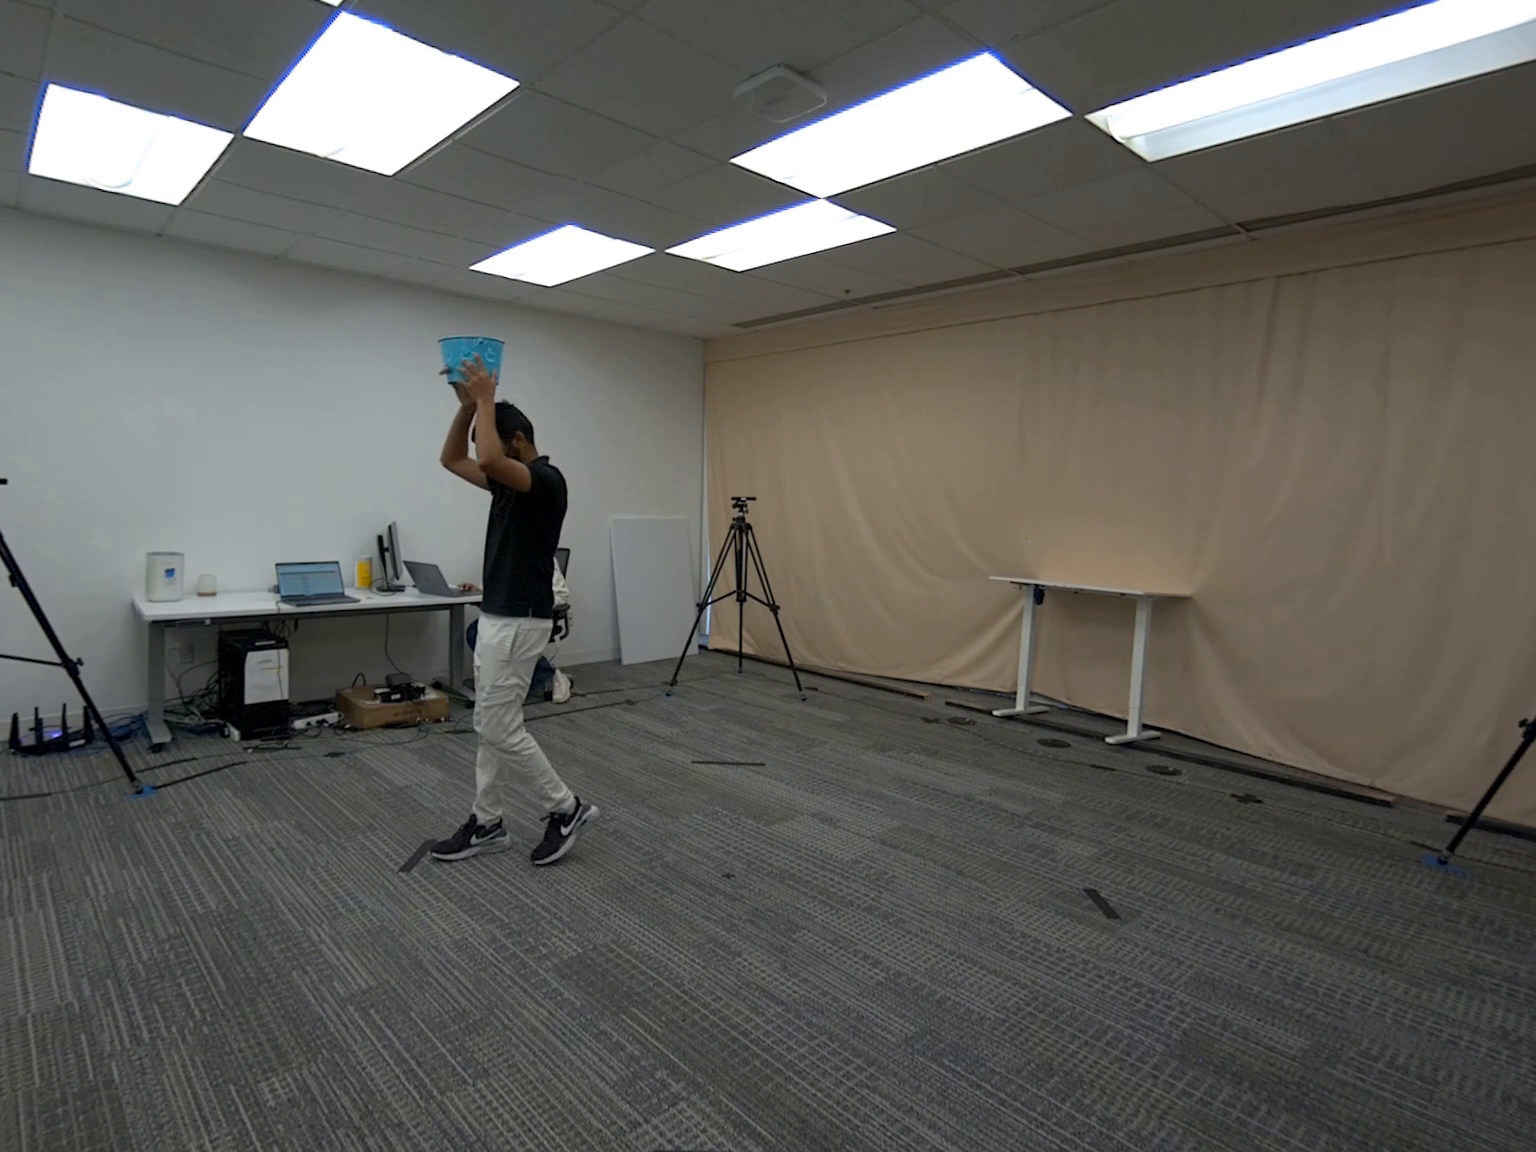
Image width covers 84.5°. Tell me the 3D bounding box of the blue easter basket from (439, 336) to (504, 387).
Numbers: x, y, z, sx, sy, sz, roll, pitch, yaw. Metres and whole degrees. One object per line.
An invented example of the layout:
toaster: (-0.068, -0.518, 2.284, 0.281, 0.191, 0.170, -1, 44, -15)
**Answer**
blue easter basket: (-1.097, -0.785, 3.073, 0.243, 0.155, 0.244, -1, 5, -1)
